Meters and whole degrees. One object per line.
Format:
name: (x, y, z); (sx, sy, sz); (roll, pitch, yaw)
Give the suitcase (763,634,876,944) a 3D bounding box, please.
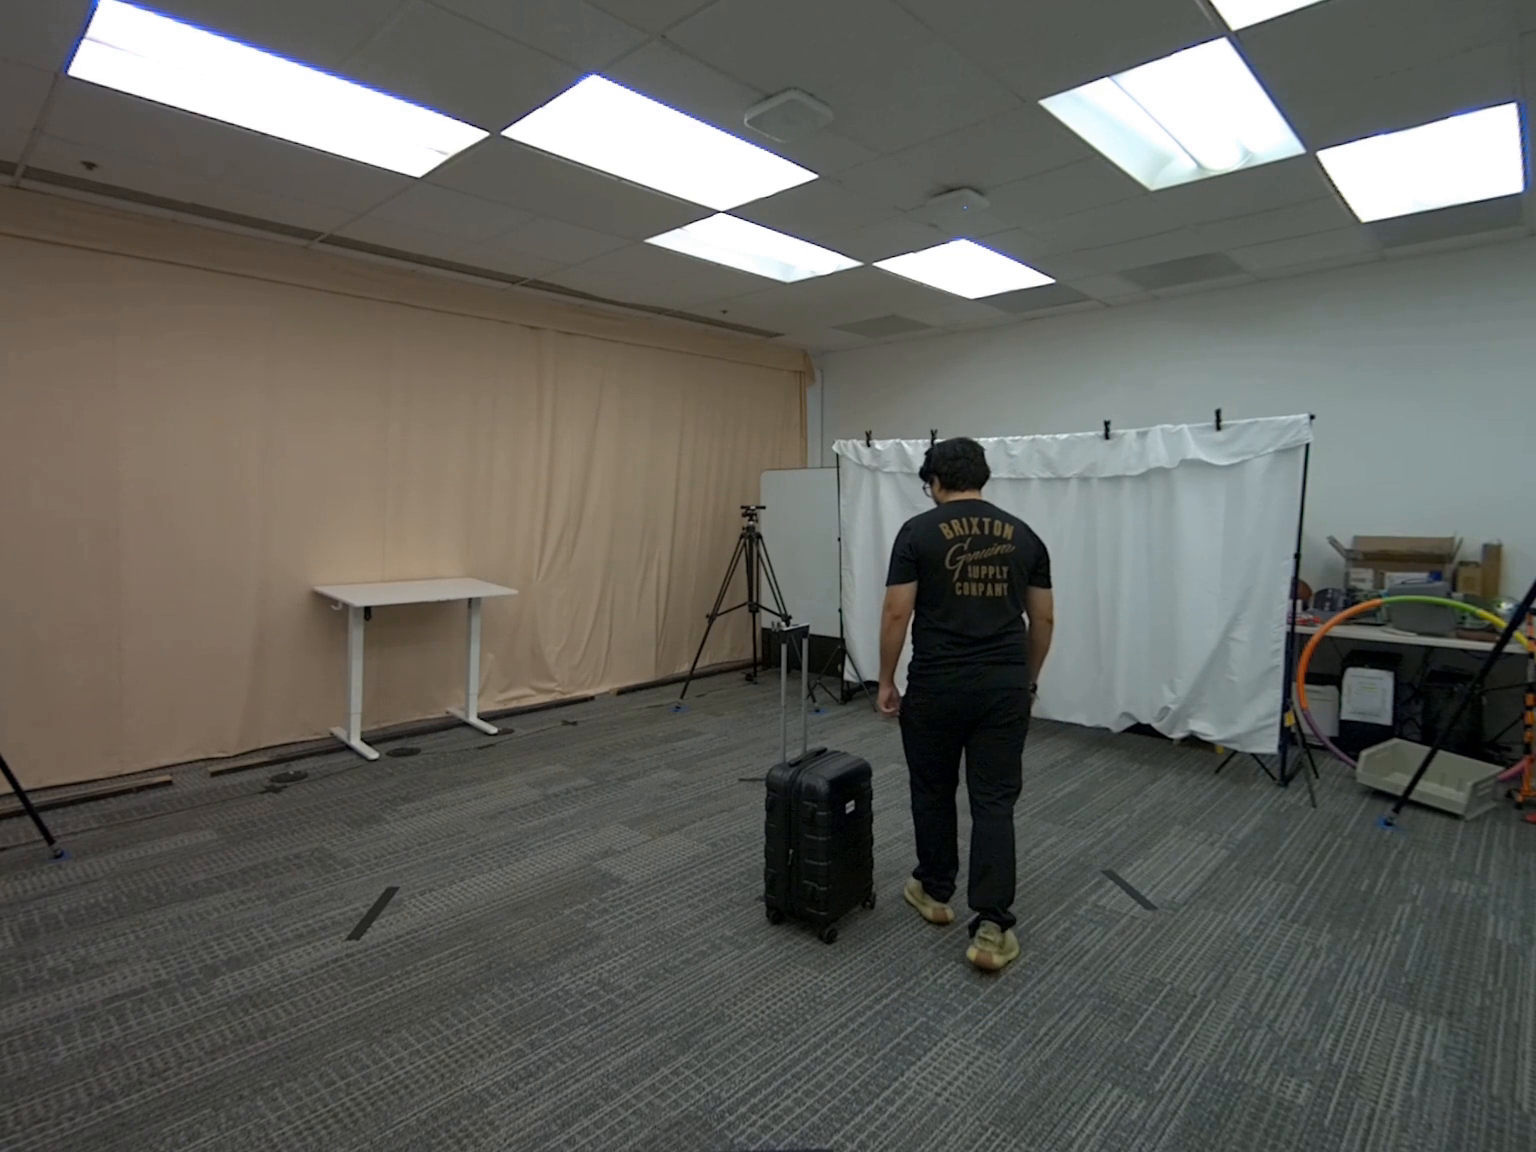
suitcase: (0.184, 0.679, 2.833); (0.265, 0.975, 0.373); (5, 6, 35)
